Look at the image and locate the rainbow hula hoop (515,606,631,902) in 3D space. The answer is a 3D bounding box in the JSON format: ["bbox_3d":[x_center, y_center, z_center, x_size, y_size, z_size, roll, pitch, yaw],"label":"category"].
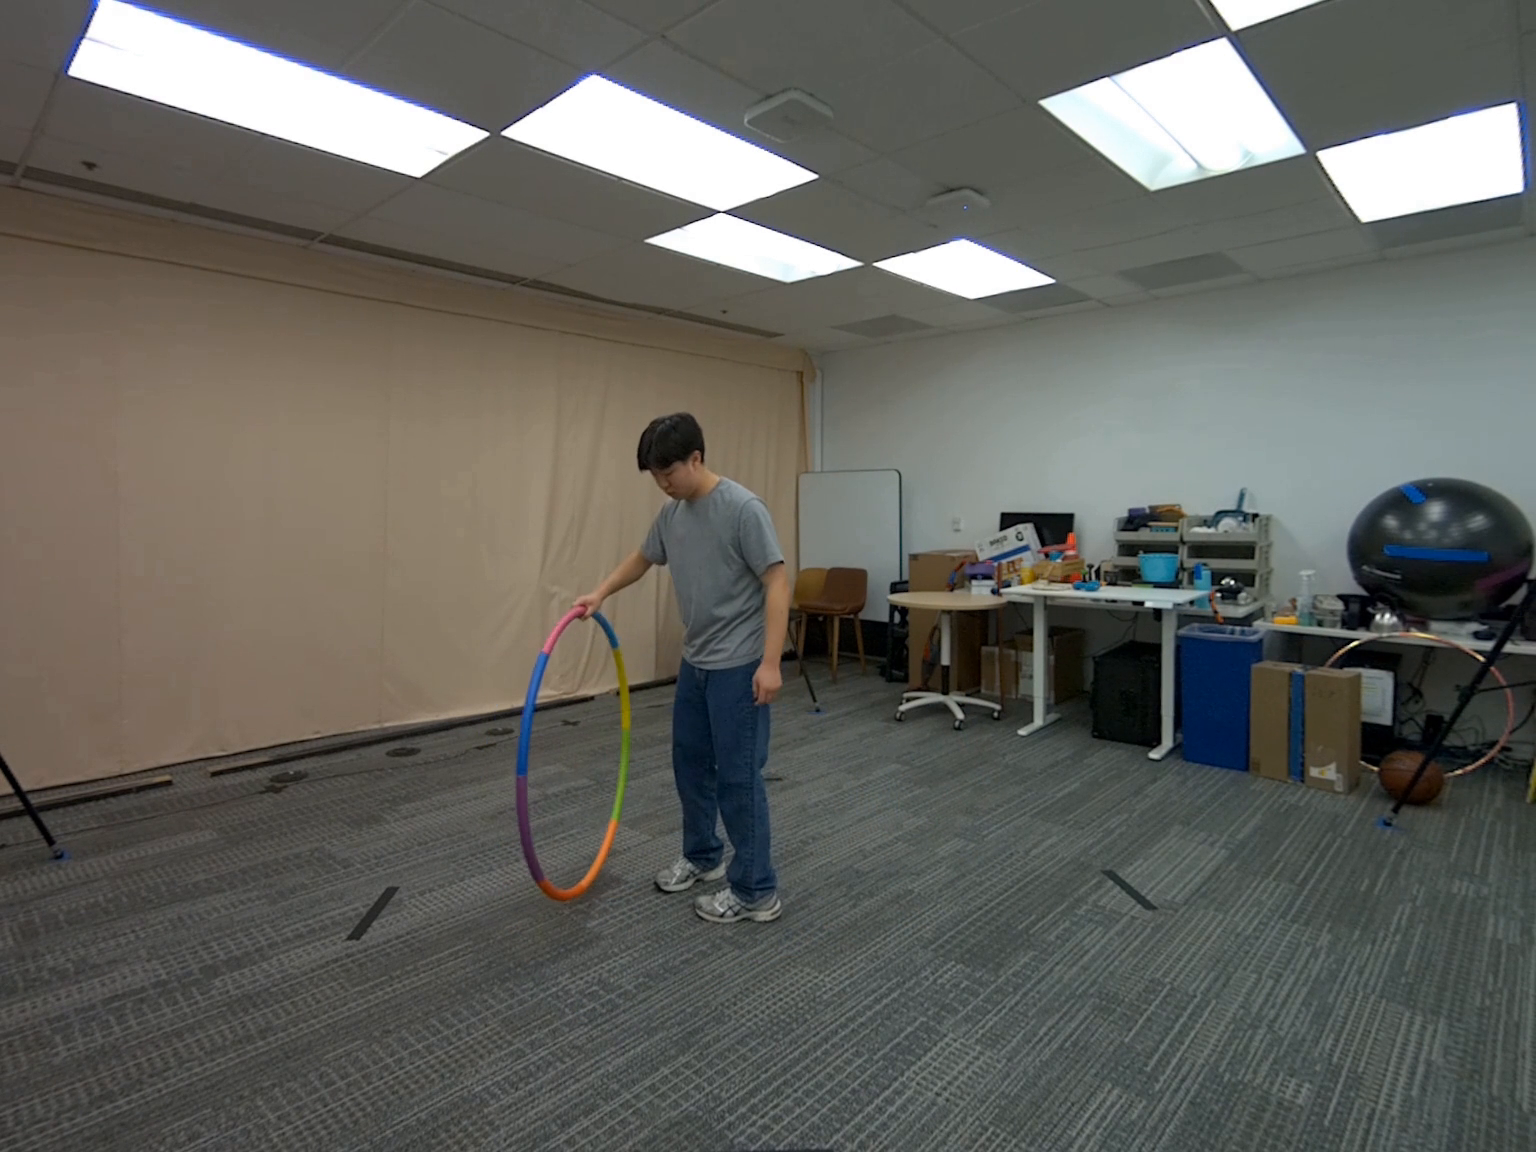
[{"bbox_3d":[-0.651,0.620,2.960,0.036,0.977,0.968,-1,3,10],"label":"rainbow hula hoop"}]
